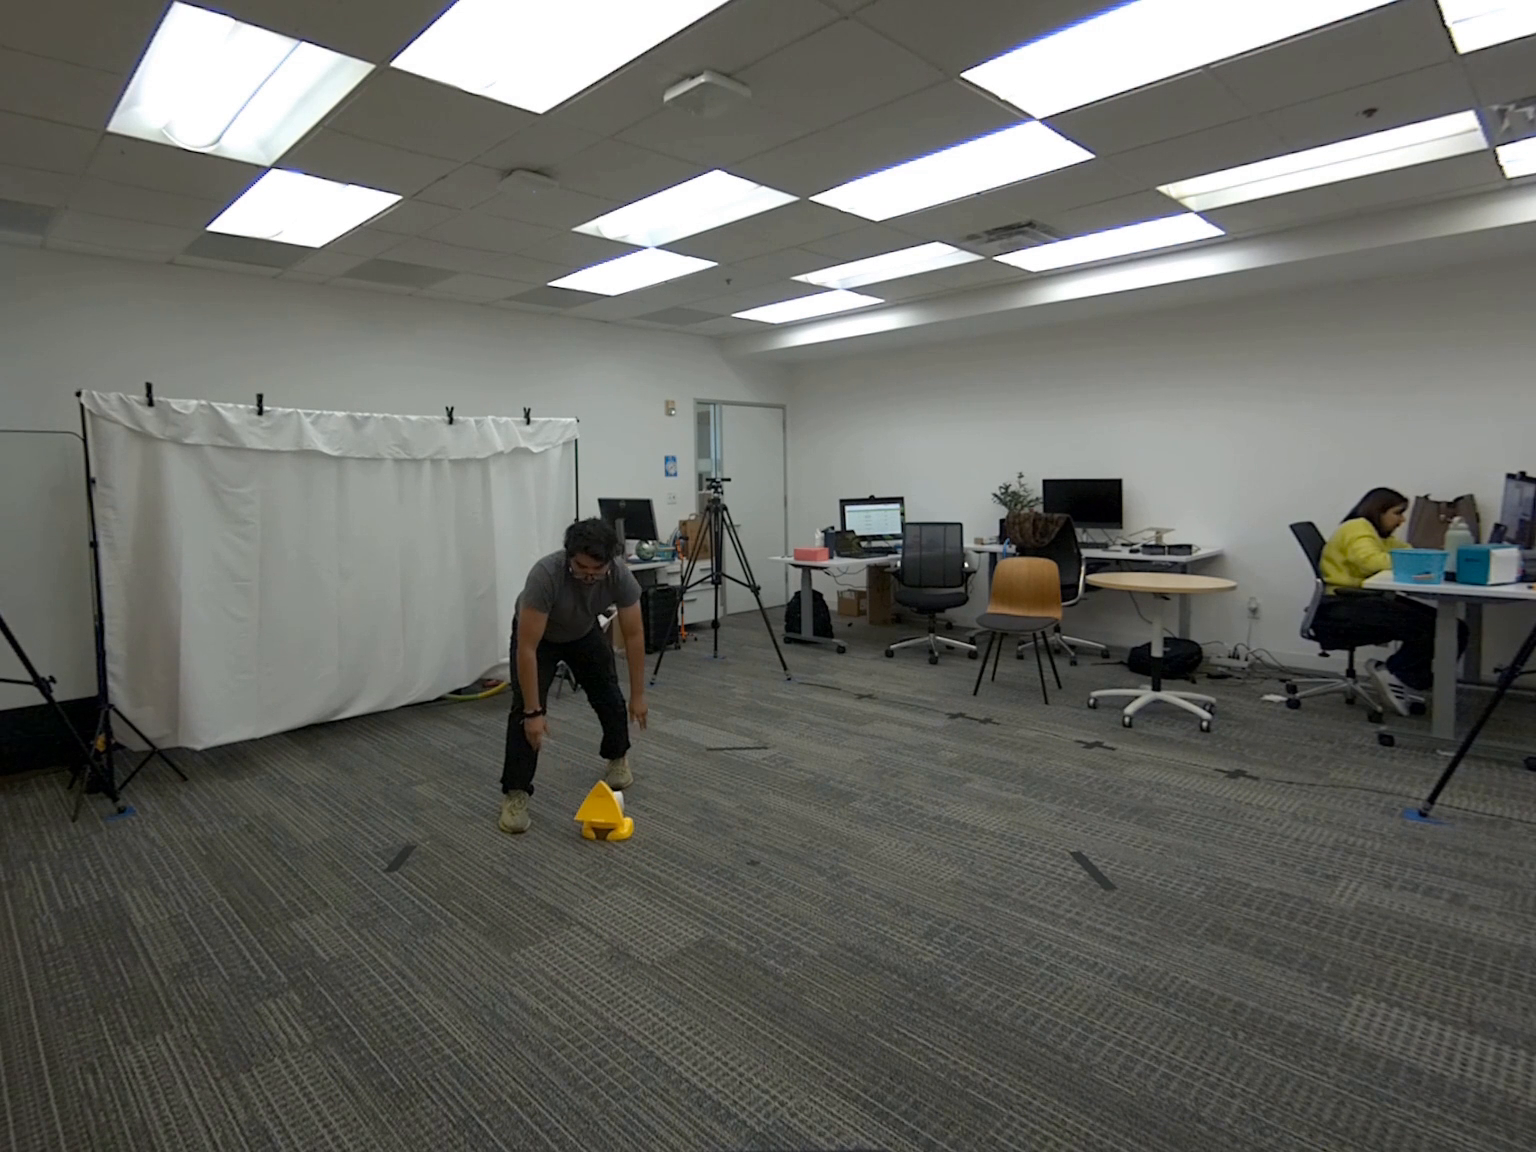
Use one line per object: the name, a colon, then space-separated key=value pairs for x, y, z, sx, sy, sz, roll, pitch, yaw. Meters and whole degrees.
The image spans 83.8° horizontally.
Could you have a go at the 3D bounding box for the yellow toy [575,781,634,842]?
yellow toy: x=-0.638 y=0.906 z=3.394 sx=0.207 sy=0.230 sz=0.191 roll=0 pitch=5 yaw=13
